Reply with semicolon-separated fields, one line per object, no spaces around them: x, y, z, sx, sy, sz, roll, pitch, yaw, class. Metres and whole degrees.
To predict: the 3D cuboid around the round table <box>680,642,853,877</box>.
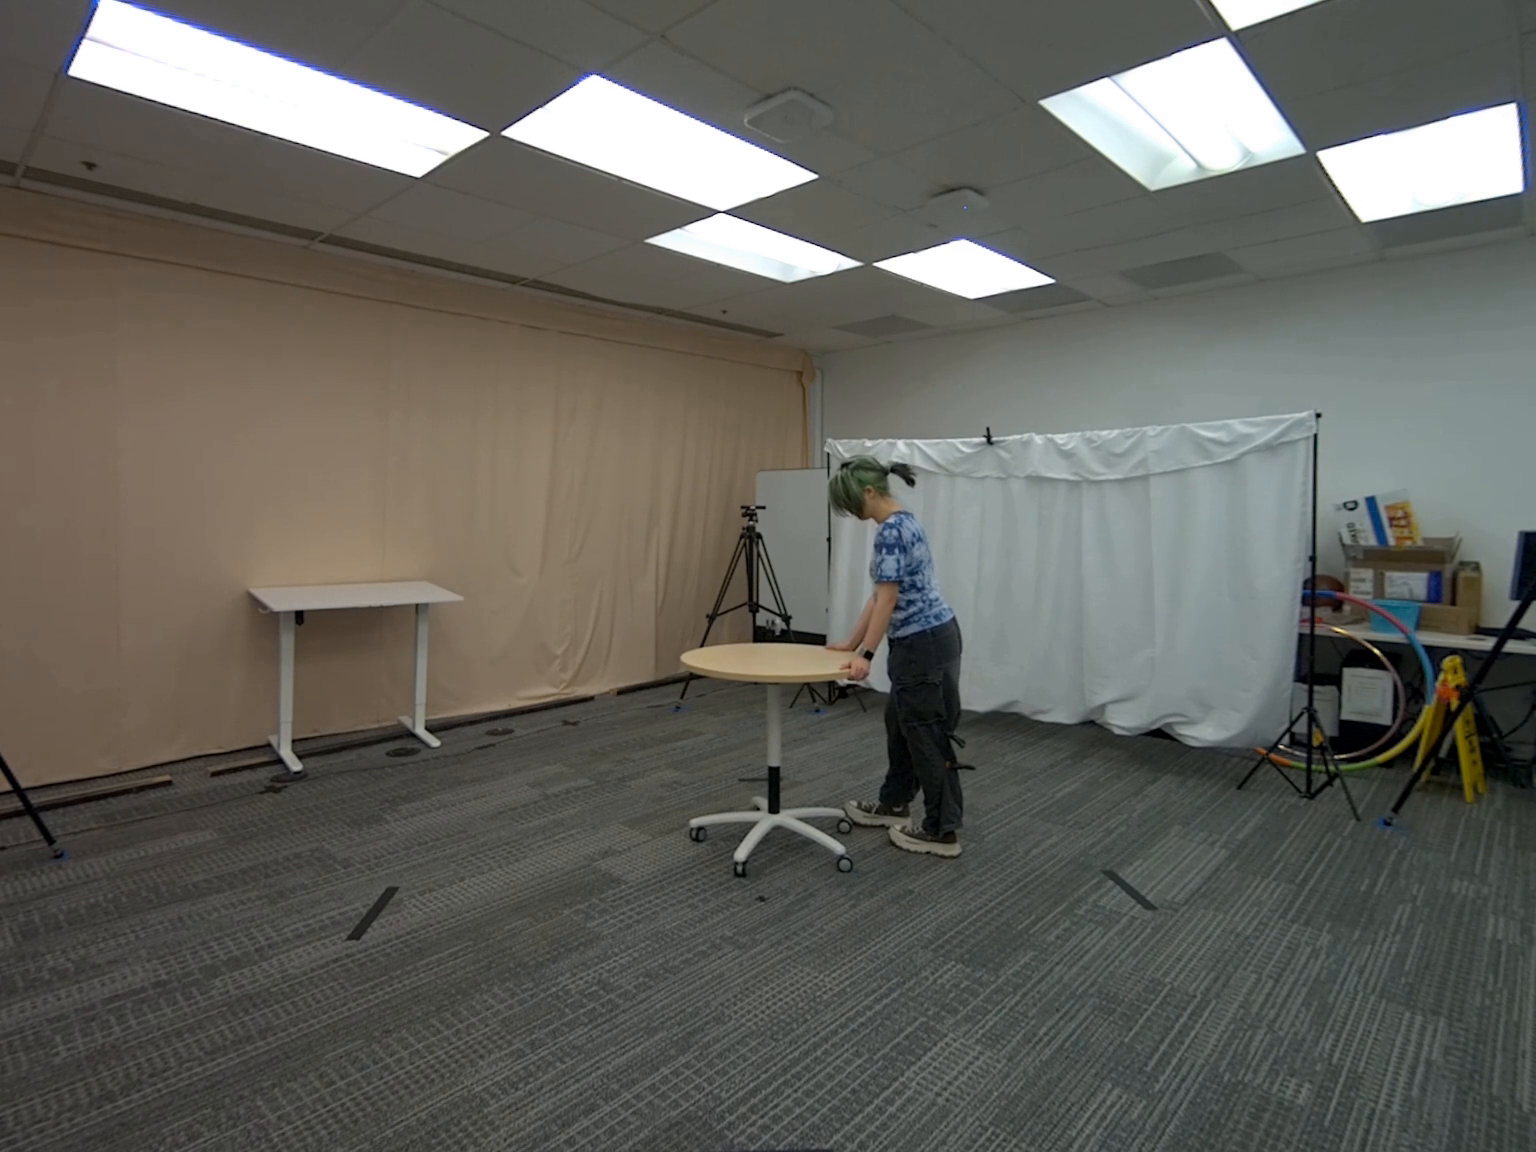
0.025;0.723;3.434;0.763;0.792;0.766;0;3;-2;round table
